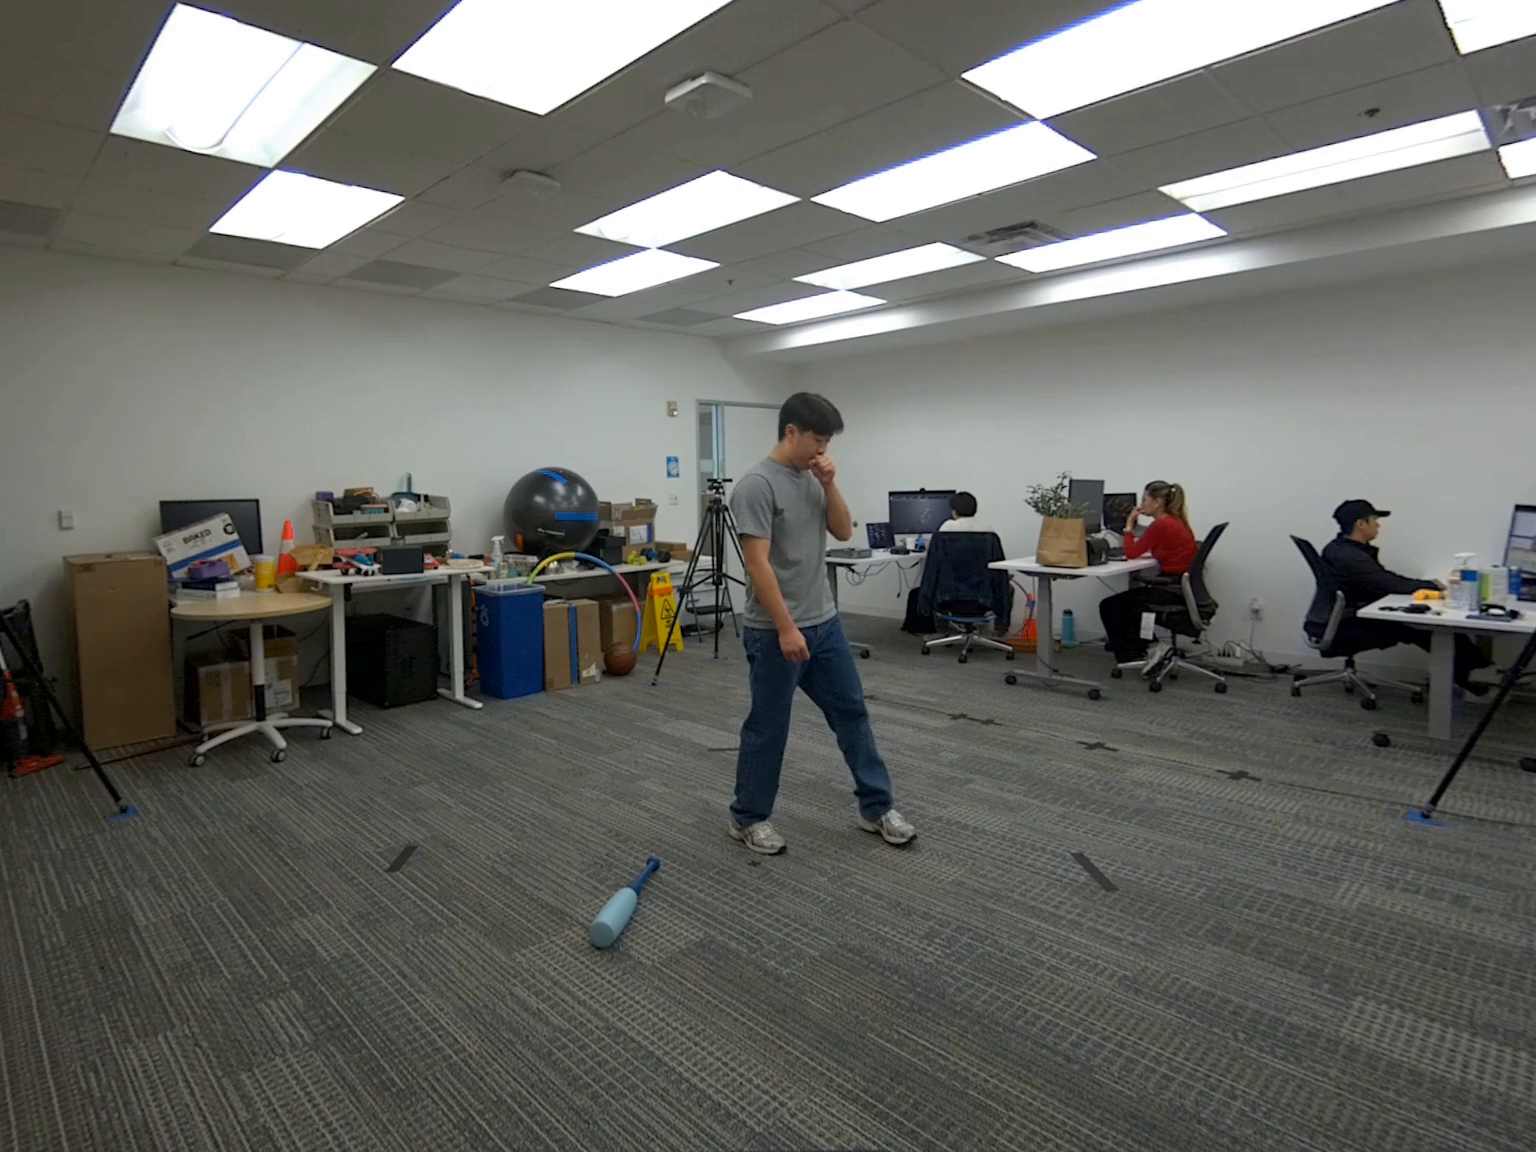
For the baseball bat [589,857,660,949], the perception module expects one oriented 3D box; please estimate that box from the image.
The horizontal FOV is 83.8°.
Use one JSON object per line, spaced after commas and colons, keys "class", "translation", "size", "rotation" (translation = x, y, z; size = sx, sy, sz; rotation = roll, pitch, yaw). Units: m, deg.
{"class": "baseball bat", "translation": [-0.451, 1.051, 2.806], "size": [0.090, 0.089, 0.539], "rotation": [0, 4, 8]}
